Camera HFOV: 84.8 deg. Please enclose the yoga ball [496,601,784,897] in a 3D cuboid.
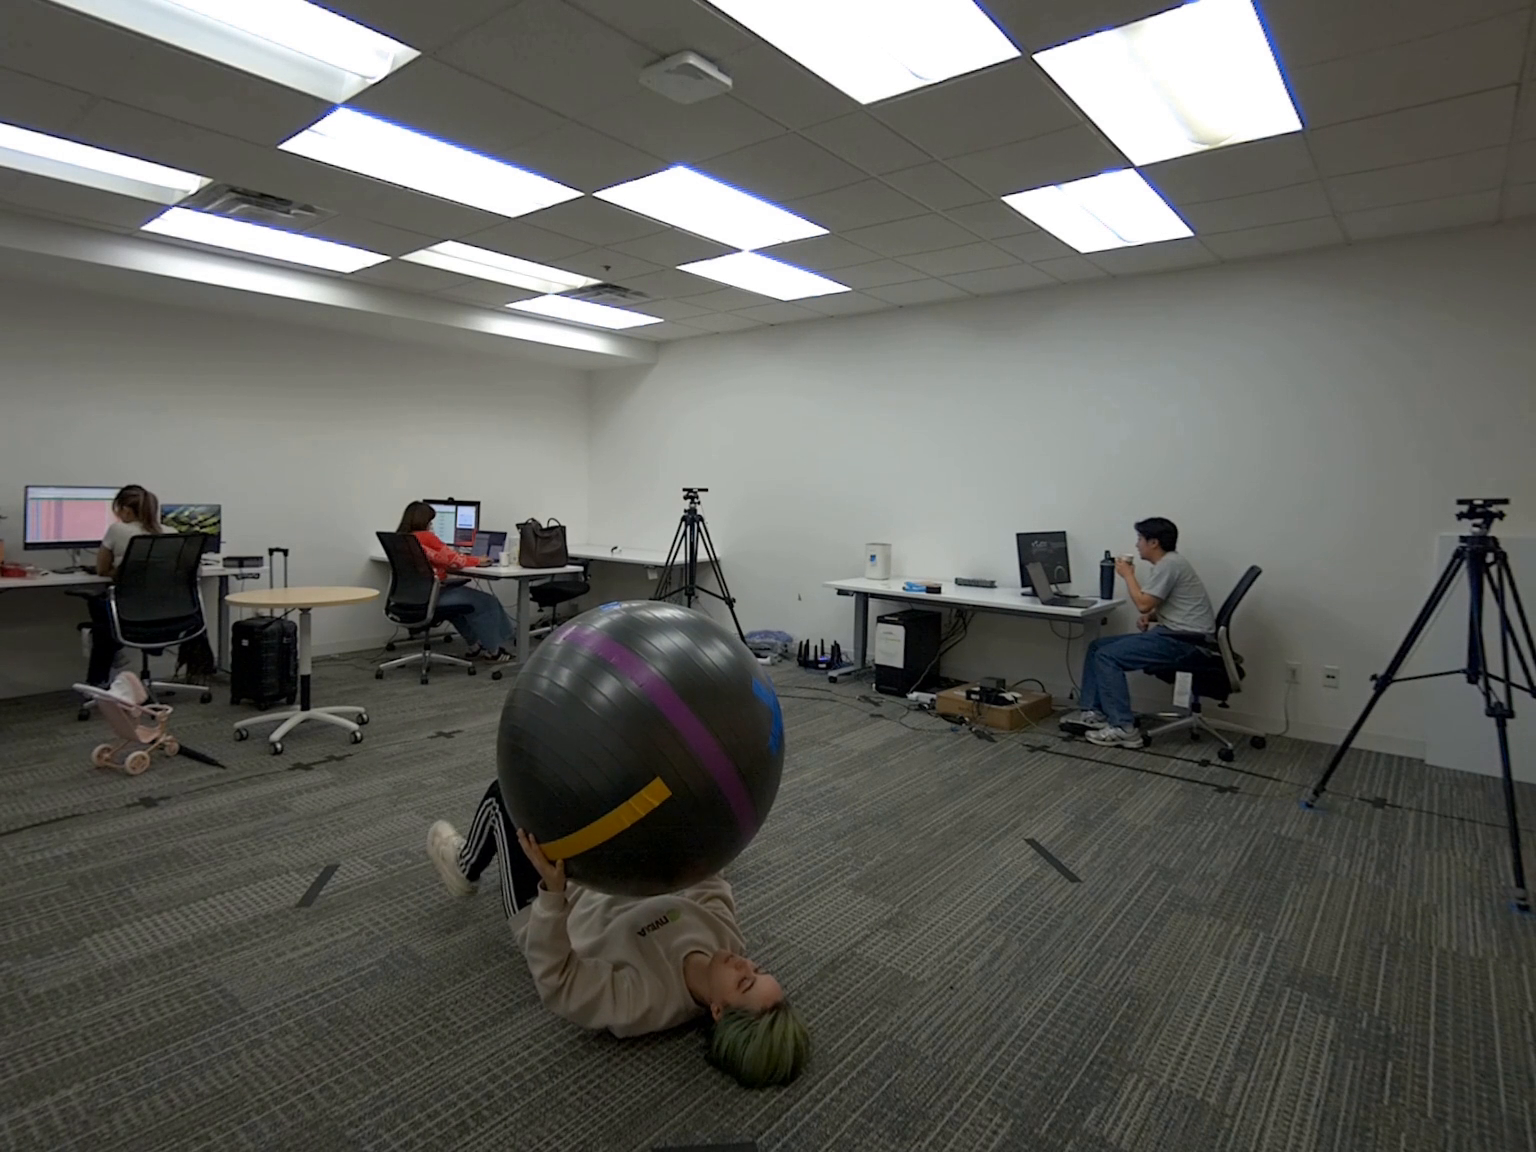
[{"bbox_3d":[-0.342,0.445,2.260,0.757,0.755,0.762,1,4,-2],"label":"yoga ball"}]
